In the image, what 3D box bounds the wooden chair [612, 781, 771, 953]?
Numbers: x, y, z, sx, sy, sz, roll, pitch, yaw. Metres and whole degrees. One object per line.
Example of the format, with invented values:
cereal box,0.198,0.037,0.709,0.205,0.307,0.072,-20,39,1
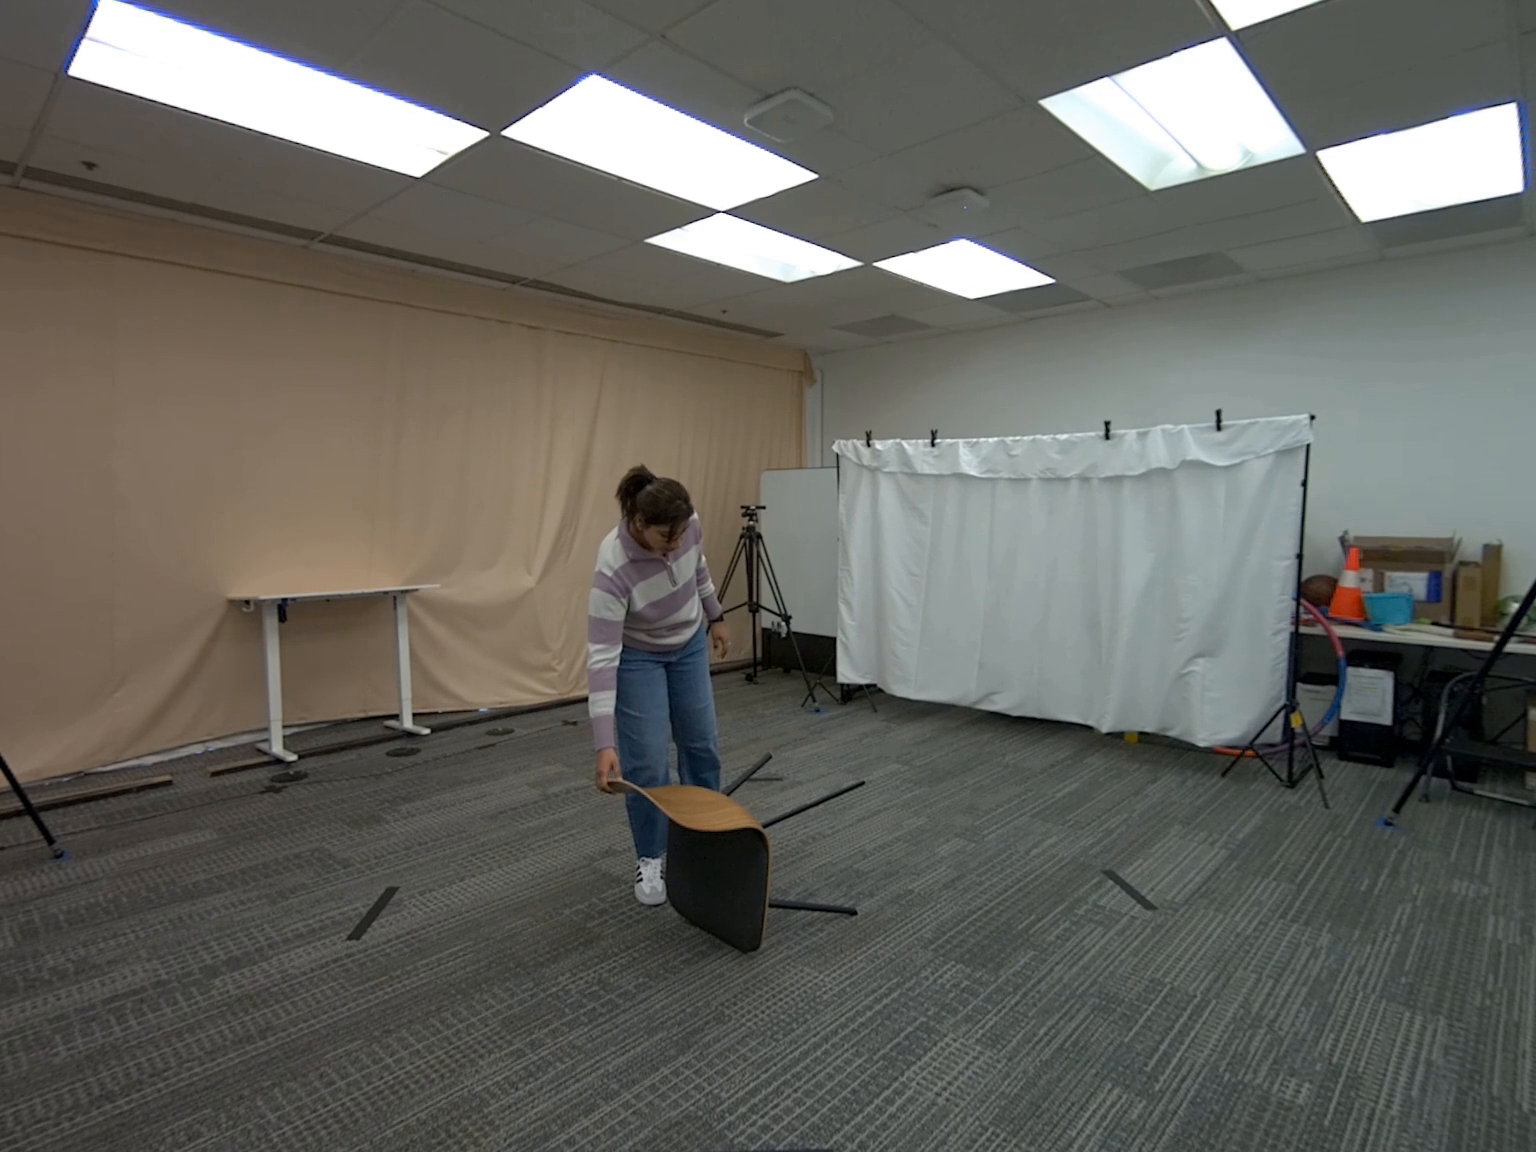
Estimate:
wooden chair,-0.133,0.913,2.735,0.494,0.524,0.847,4,-2,44
